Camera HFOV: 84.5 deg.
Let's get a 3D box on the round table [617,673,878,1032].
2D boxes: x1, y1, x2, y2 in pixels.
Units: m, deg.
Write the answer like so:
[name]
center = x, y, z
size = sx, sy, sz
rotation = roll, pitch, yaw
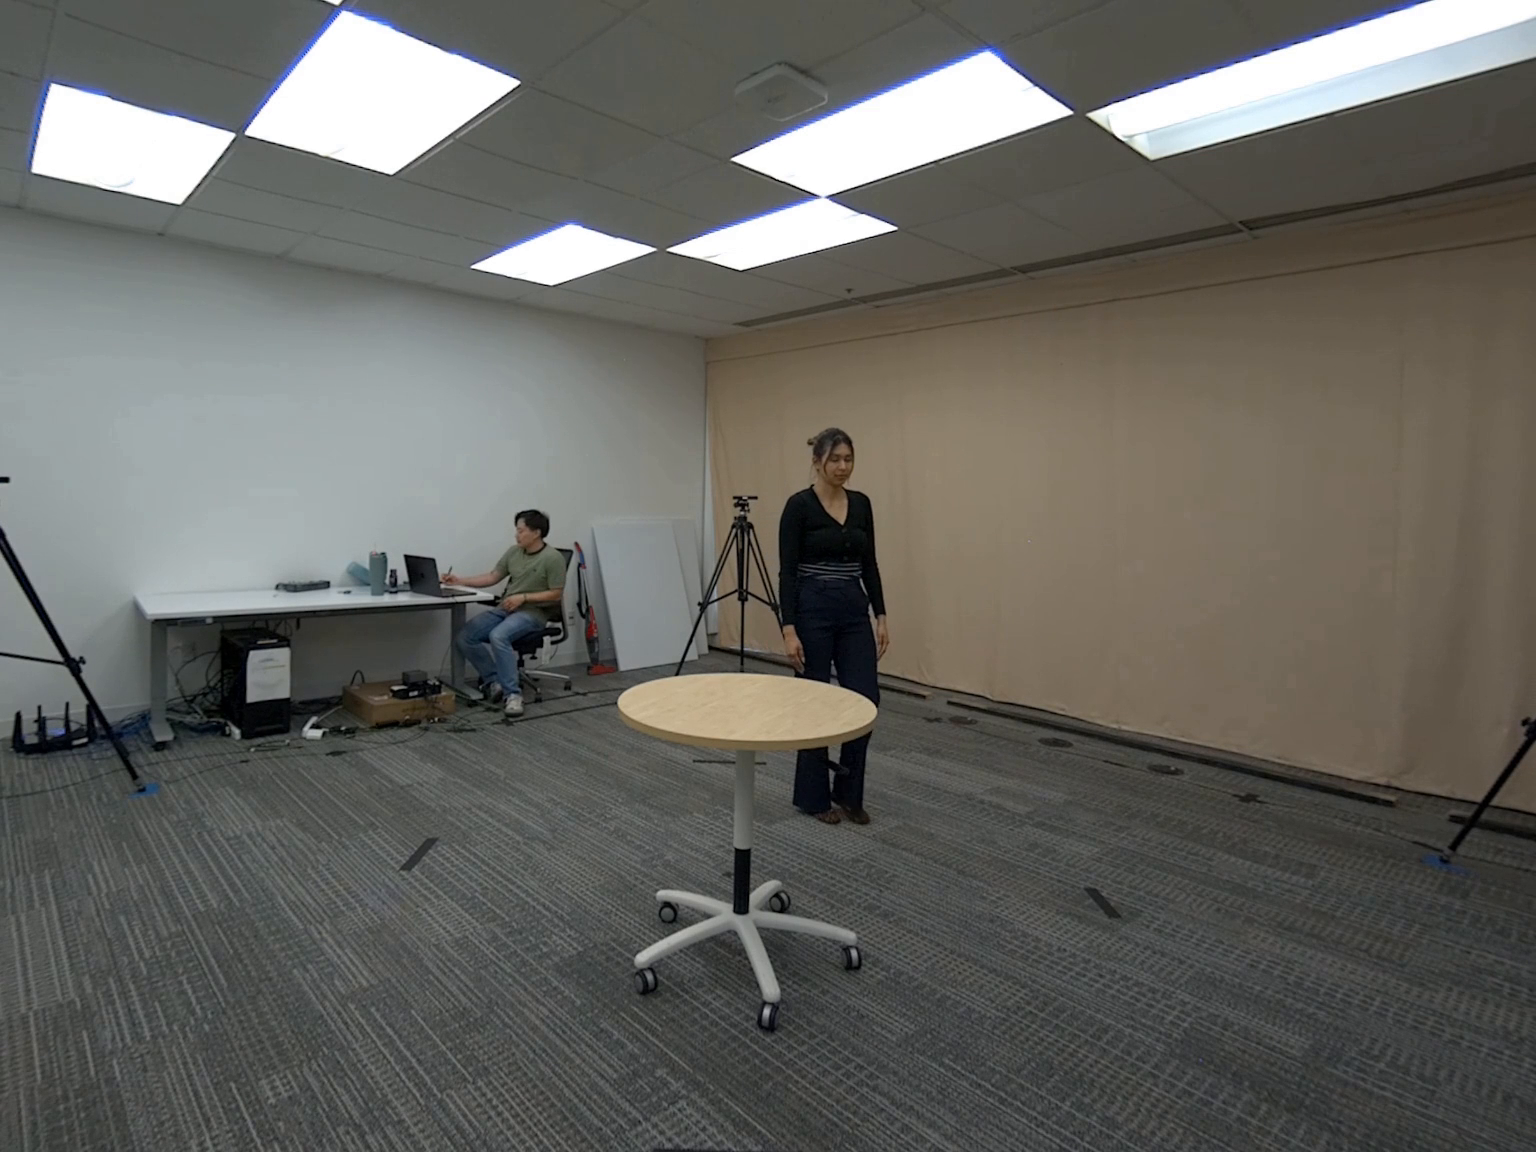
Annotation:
[round table]
center = -0.083, 0.770, 2.528
size = 0.763, 0.791, 0.767
rotation = 2, 4, -1
